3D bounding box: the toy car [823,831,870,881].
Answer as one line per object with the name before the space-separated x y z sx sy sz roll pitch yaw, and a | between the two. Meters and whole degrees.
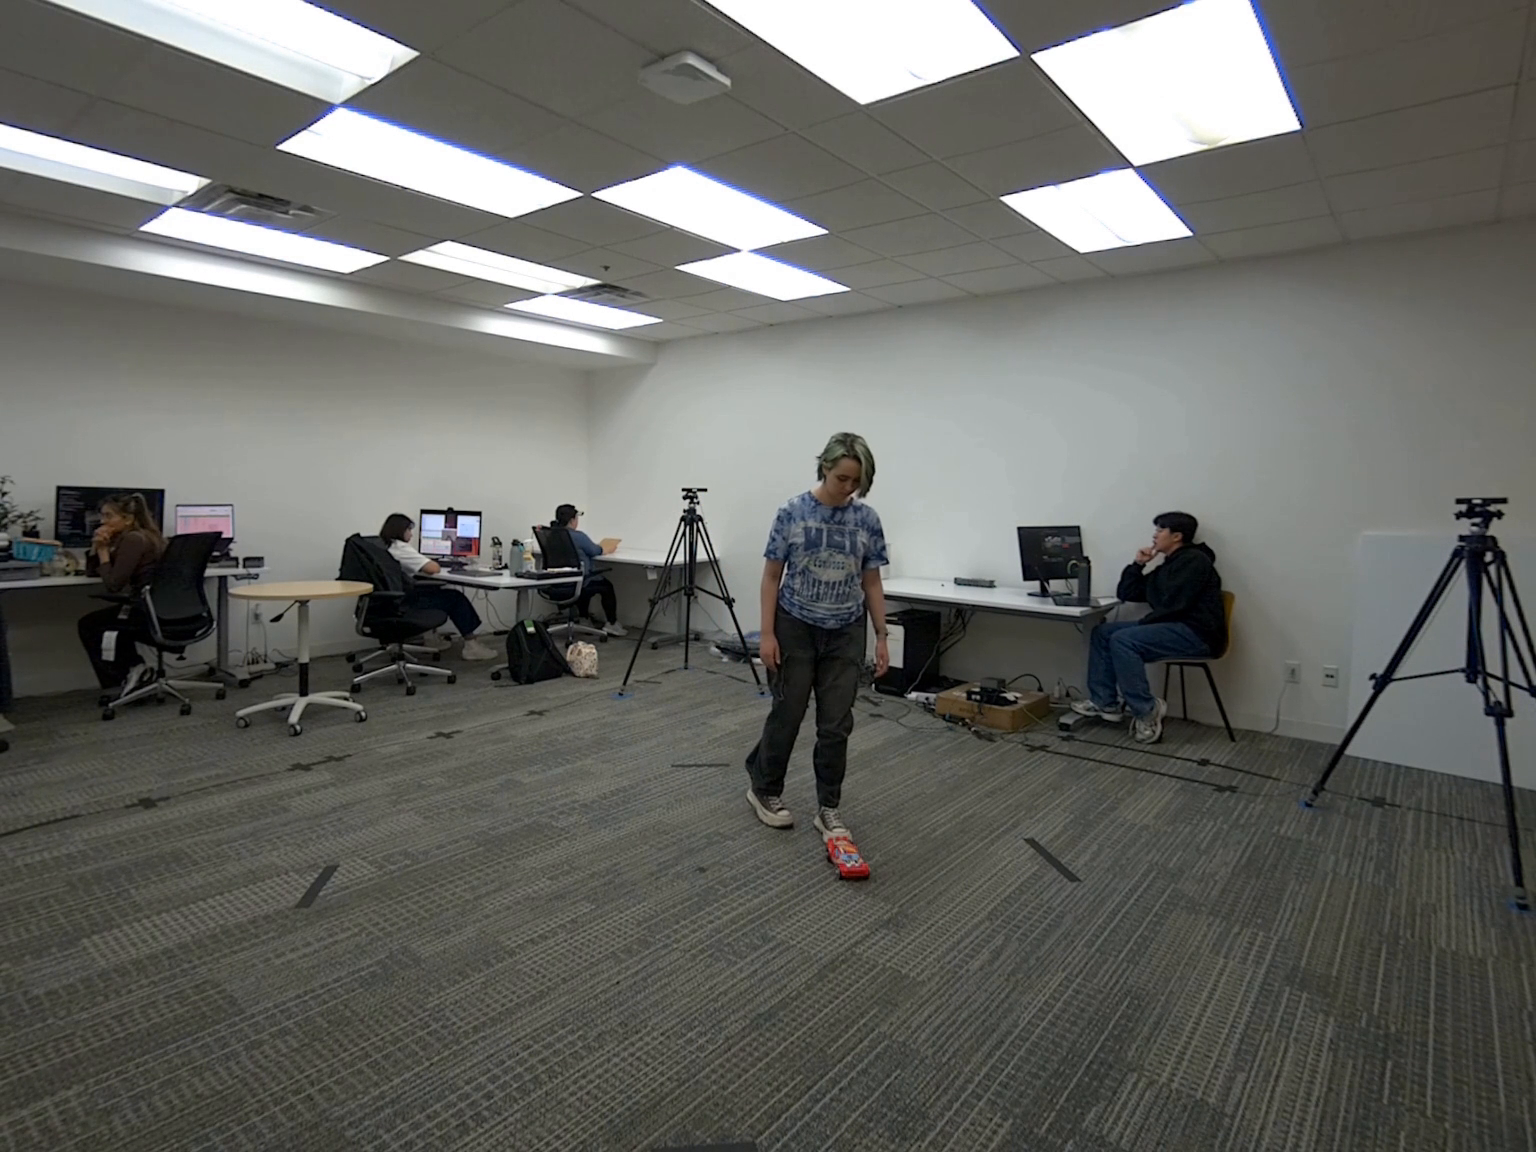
toy car | 0.289 1.045 3.156 0.129 0.082 0.260 -2 17 -9
